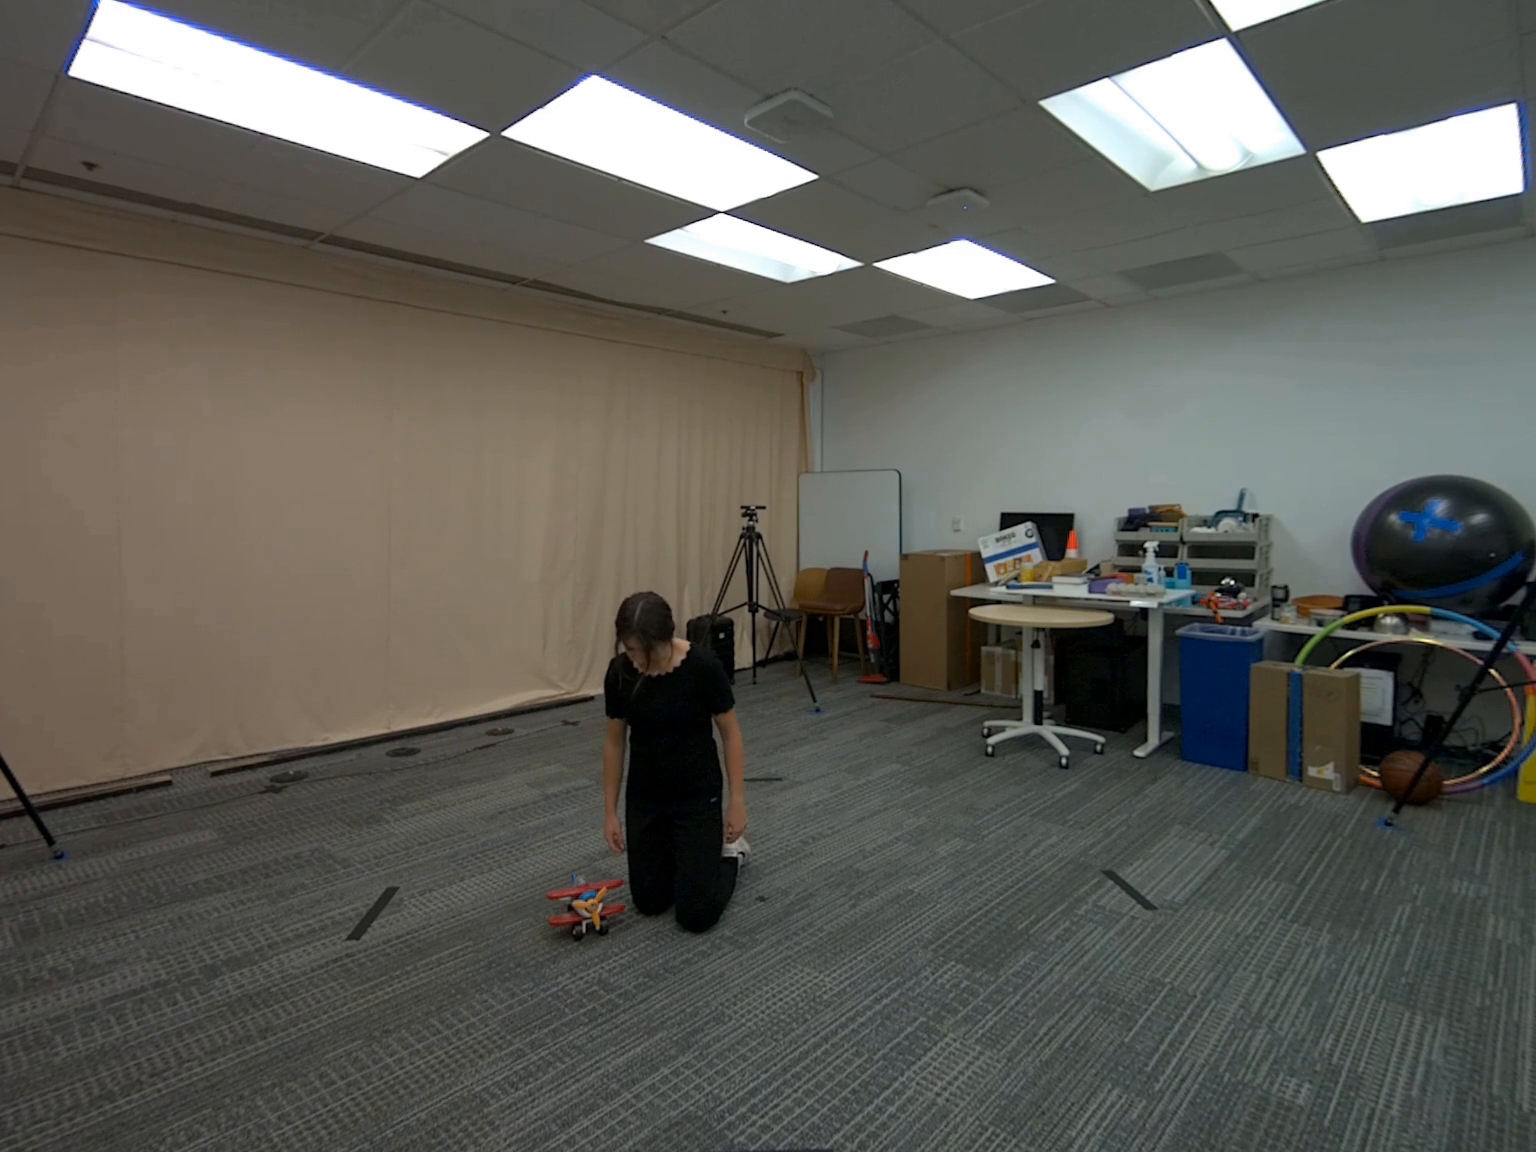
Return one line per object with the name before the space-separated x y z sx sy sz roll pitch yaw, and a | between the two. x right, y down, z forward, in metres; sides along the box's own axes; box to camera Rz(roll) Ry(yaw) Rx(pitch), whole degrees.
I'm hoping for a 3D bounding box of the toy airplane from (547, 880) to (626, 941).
toy airplane | -0.629 1.095 2.795 0.267 0.156 0.244 3 7 36
